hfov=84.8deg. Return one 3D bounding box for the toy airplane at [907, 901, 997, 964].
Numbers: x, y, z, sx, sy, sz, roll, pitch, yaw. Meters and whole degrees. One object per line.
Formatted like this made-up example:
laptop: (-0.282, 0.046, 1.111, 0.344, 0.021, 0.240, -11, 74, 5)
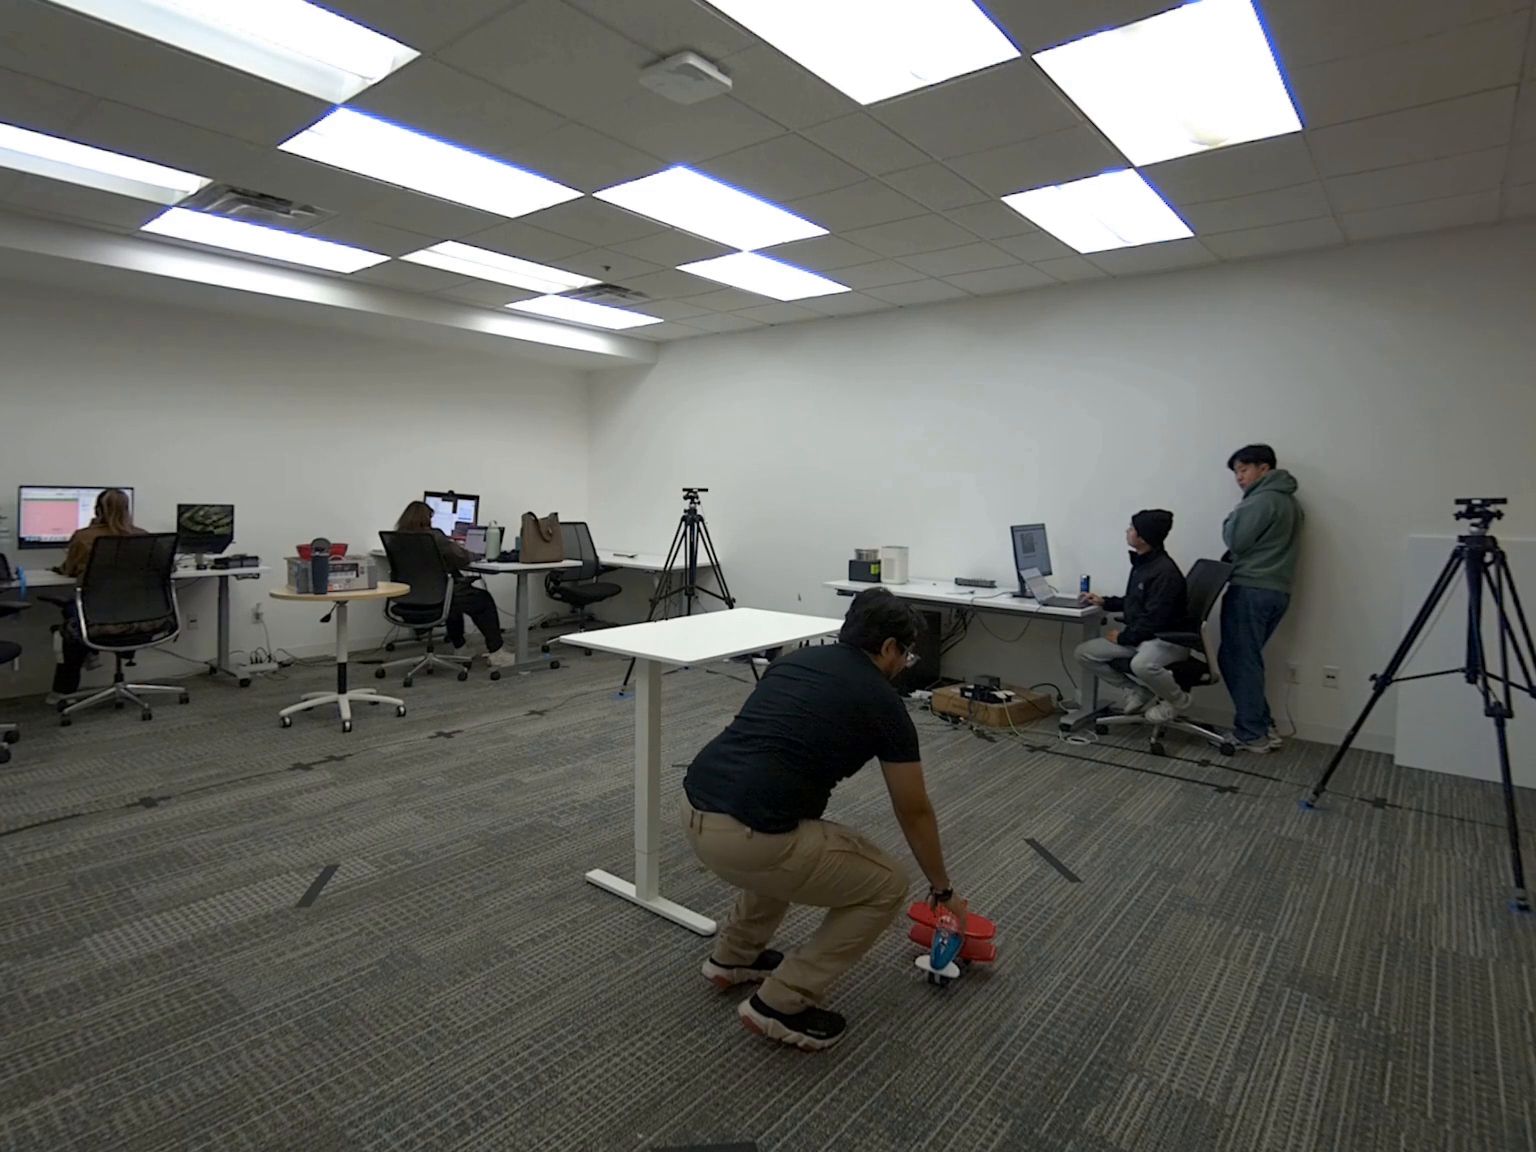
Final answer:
toy airplane: (0.542, 1.070, 2.480, 0.251, 0.156, 0.260, 2, 2, -1)
